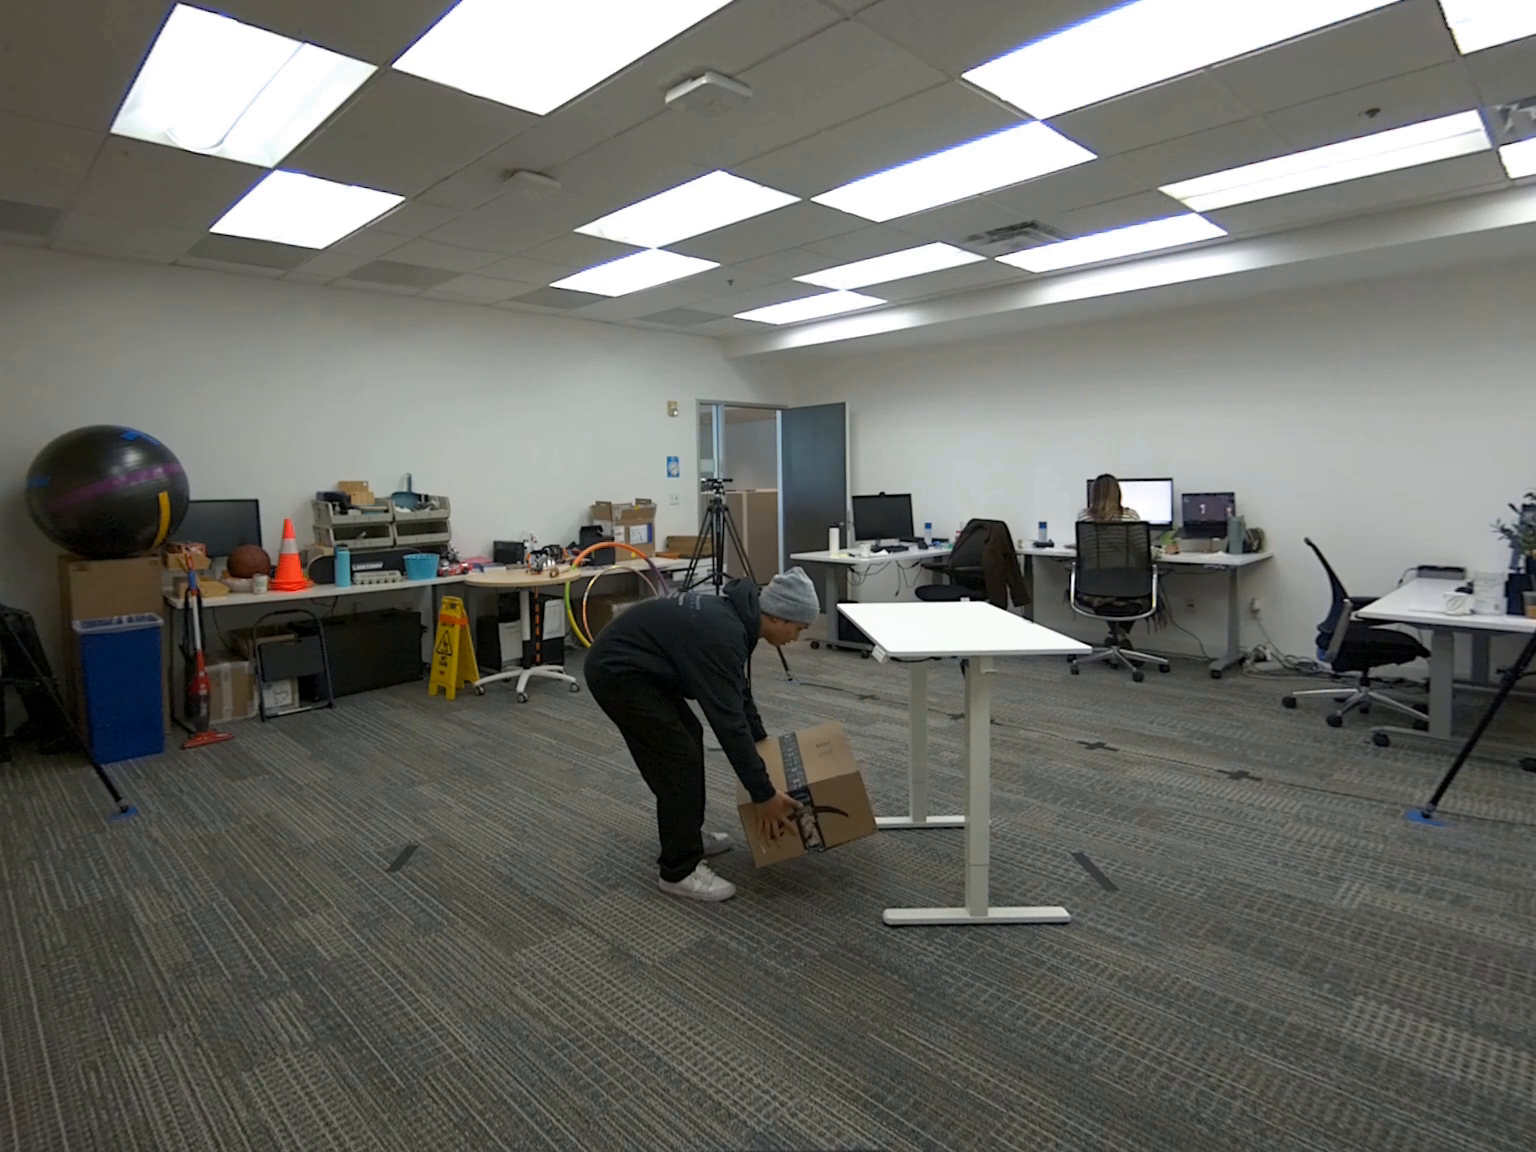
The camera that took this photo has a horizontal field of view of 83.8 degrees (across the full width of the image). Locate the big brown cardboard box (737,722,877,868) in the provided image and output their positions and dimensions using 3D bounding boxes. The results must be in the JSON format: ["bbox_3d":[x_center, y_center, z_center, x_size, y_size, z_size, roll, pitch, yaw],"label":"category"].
[{"bbox_3d":[0.113,0.750,3.023,0.418,0.232,0.591,-16,7,2],"label":"big brown cardboard box"}]
